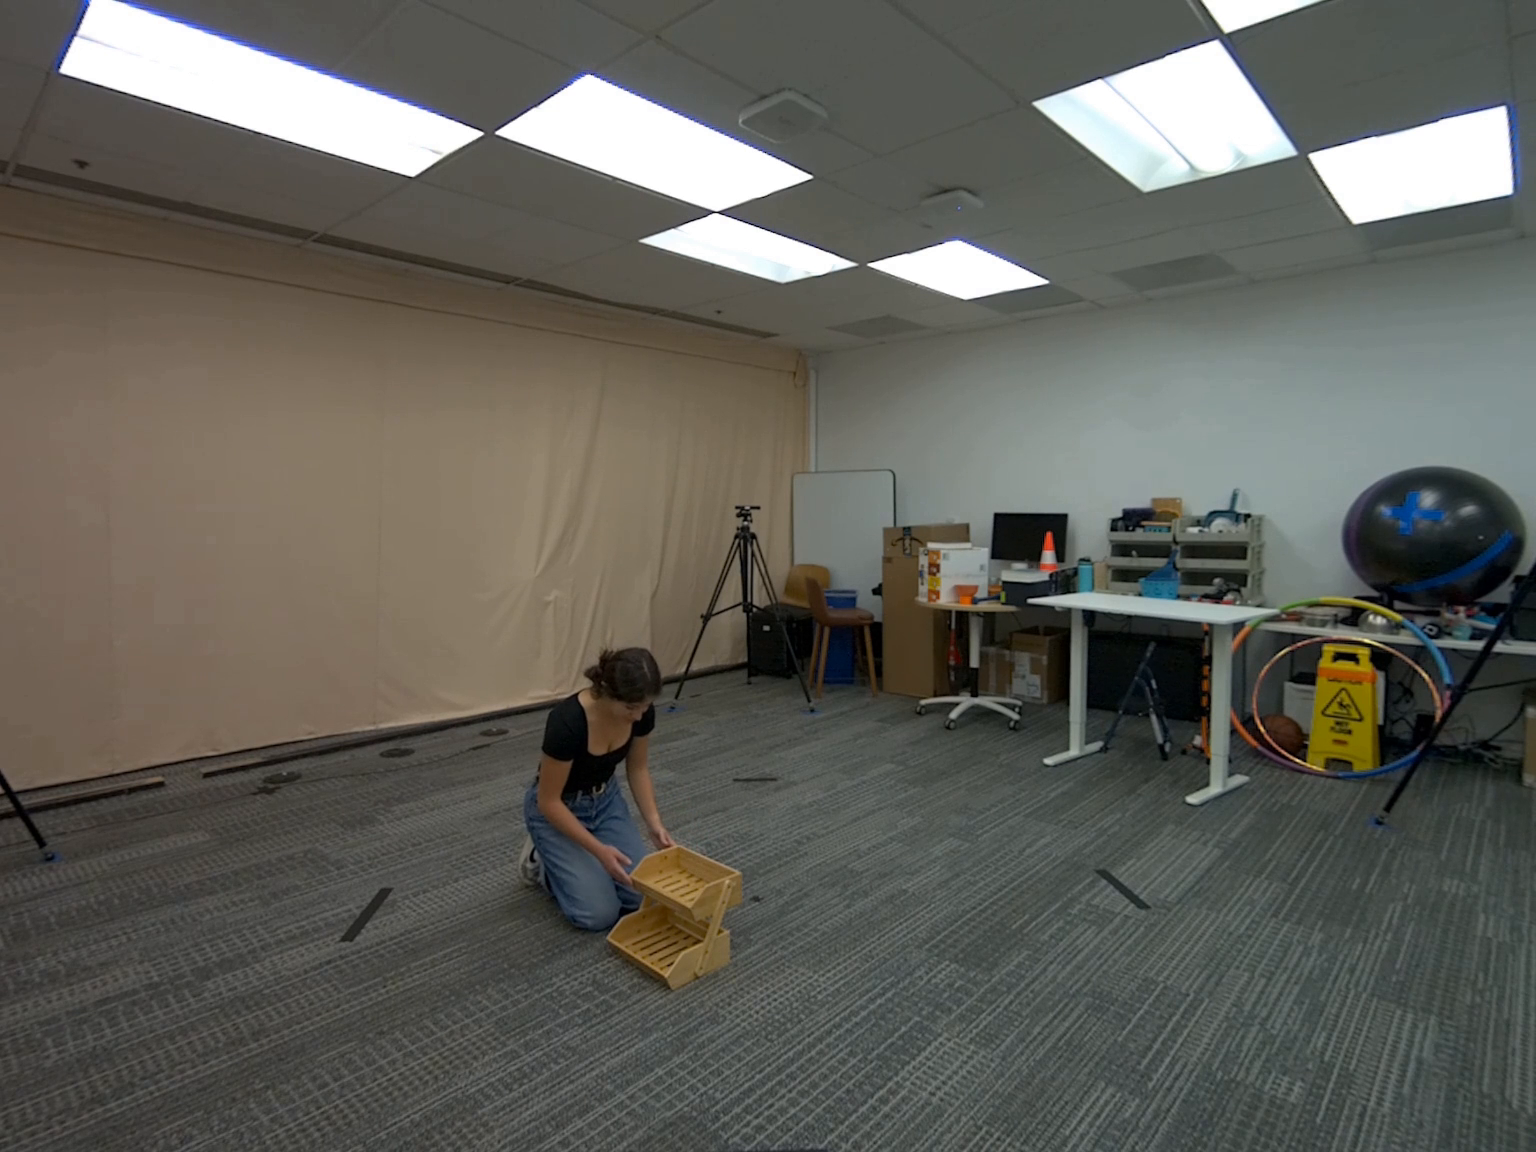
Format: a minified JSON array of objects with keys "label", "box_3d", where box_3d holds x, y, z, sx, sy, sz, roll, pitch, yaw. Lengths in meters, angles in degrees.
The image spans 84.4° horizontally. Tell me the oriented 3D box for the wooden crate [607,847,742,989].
[{"label":"wooden crate","box_3d":[-0.290,1.045,2.608,0.293,0.273,0.335,-3,4,-44]}]
